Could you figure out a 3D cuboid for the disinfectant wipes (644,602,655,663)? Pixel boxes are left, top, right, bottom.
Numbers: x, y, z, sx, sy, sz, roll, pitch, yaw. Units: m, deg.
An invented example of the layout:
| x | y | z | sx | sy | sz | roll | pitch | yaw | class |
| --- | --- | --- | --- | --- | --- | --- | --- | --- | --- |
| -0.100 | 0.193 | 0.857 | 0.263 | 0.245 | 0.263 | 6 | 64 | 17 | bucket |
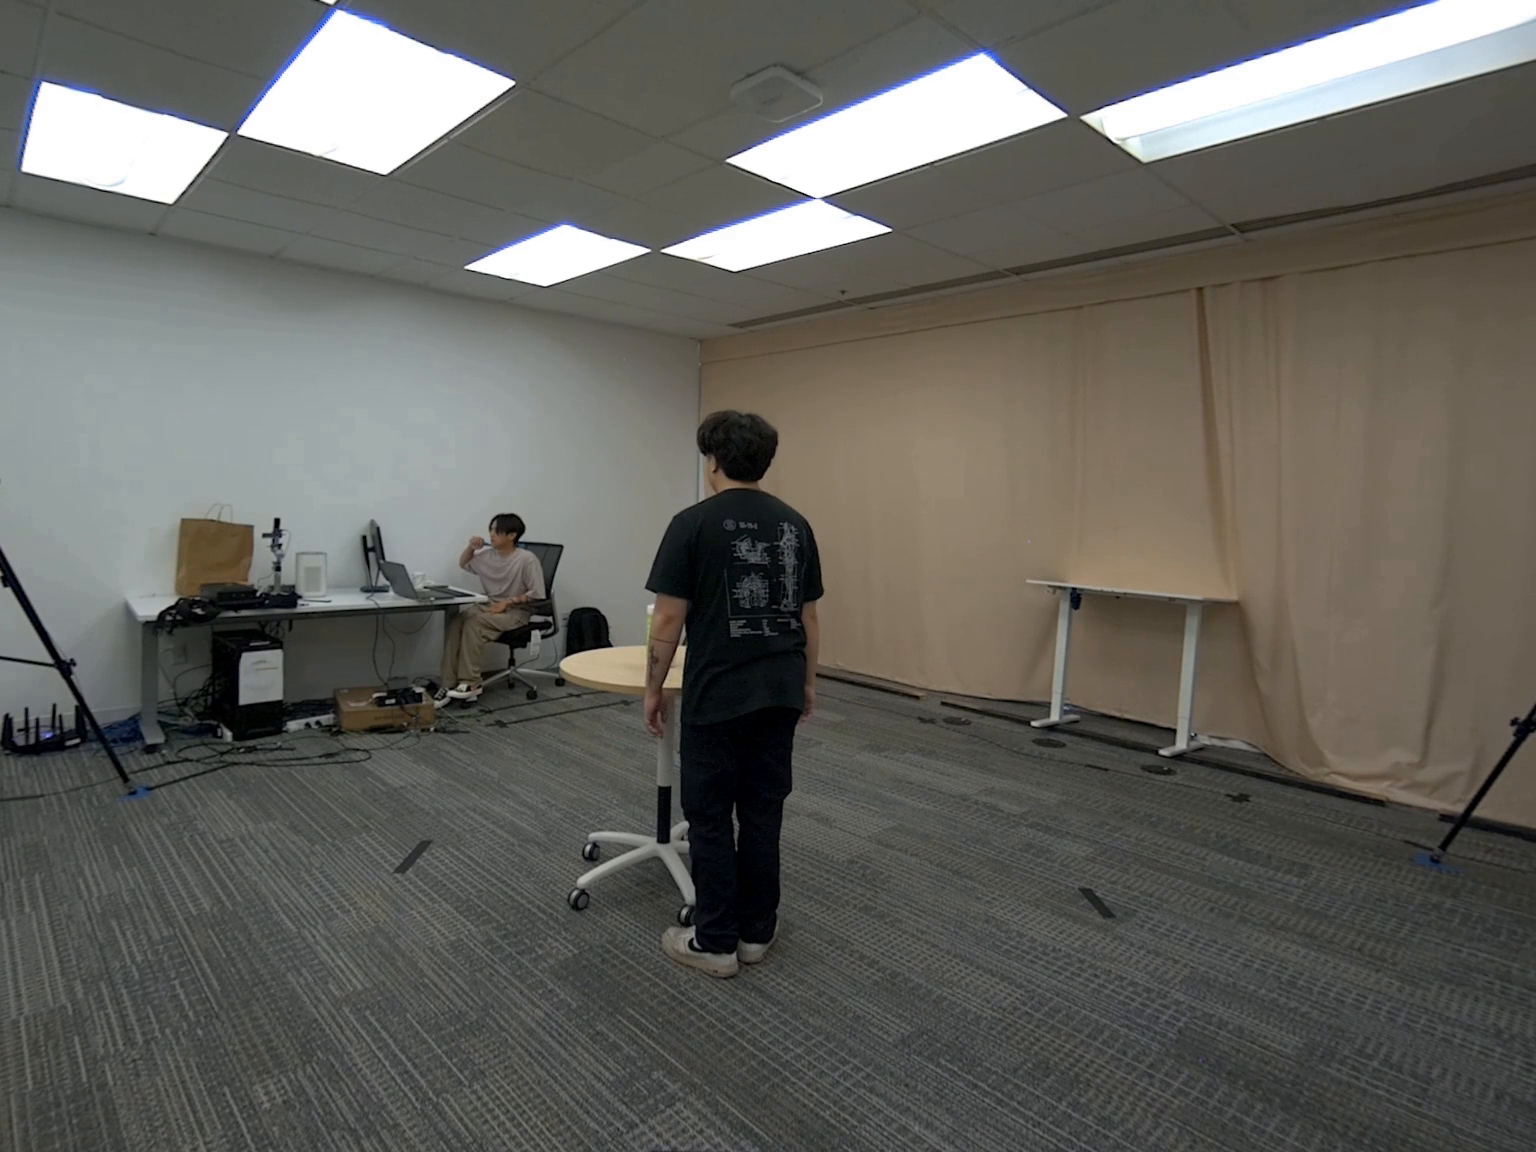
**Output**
| x | y | z | sx | sy | sz | roll | pitch | yaw | class |
| --- | --- | --- | --- | --- | --- | --- | --- | --- | --- |
| -0.381 | 0.217 | 2.991 | 0.118 | 0.217 | 0.118 | 0 | 3 | -1 | disinfectant wipes |
